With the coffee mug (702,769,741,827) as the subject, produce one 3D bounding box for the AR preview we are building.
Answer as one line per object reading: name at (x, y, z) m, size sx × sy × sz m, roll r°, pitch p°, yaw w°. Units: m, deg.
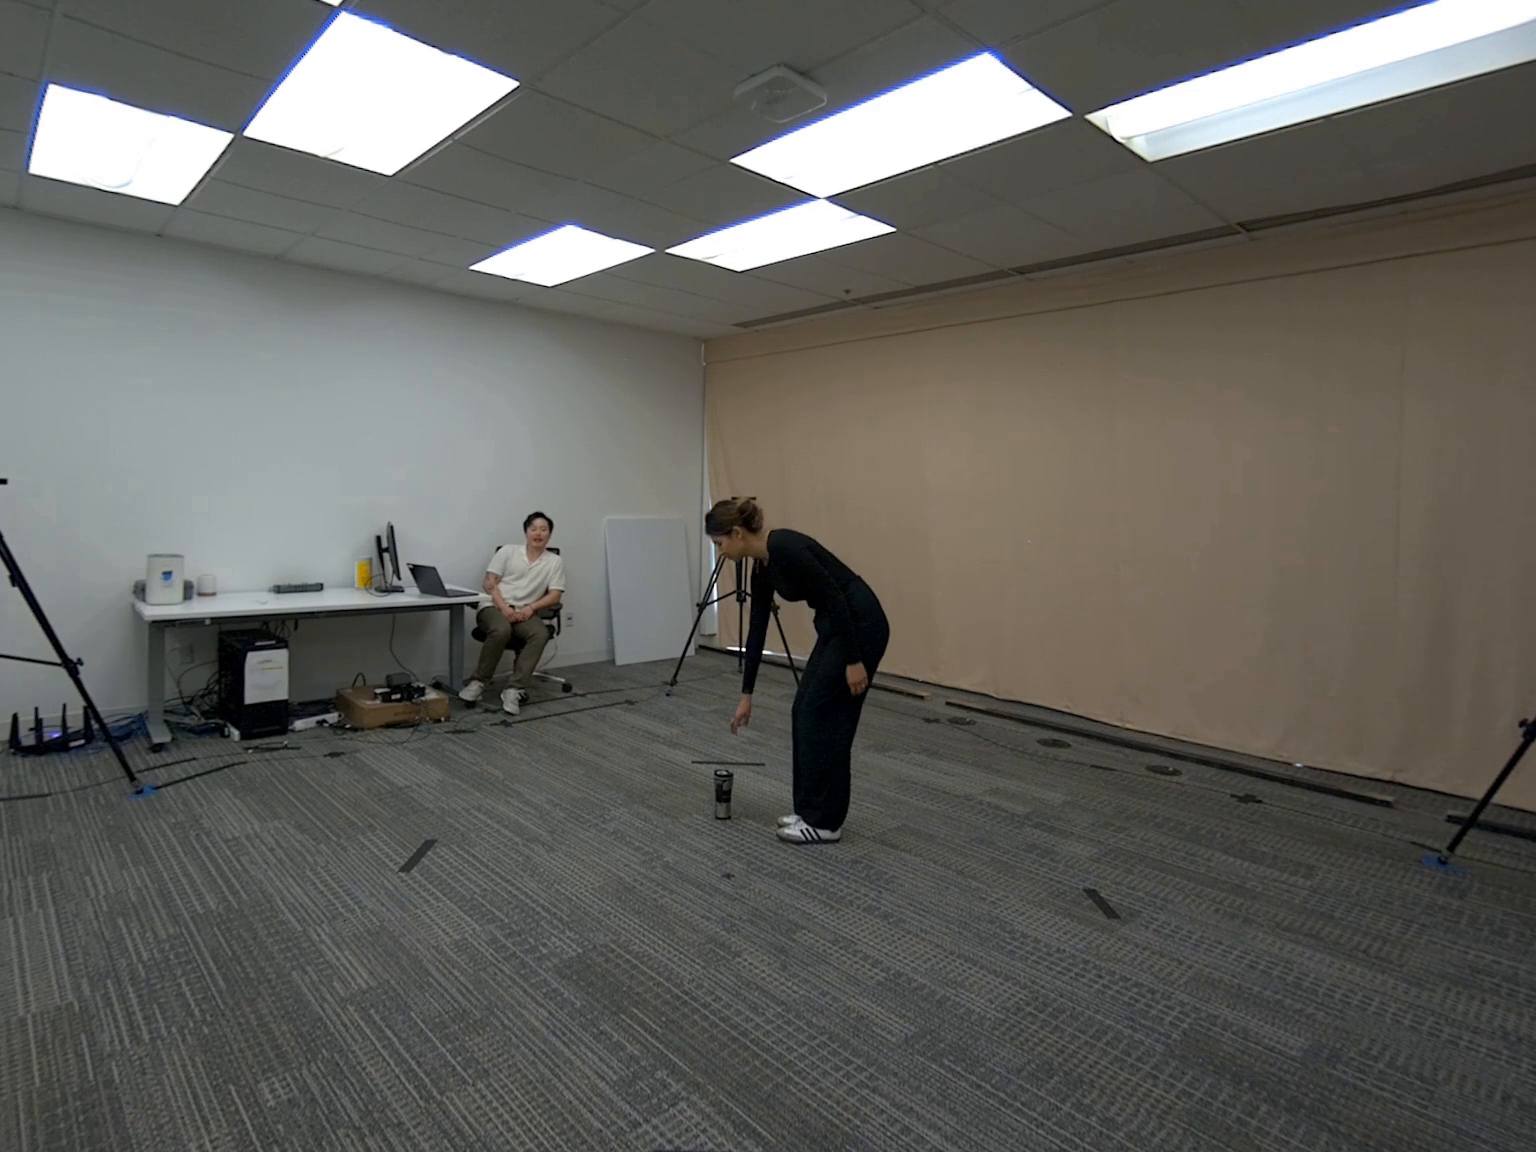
coffee mug at (-0.203, 0.955, 3.660) m, size 0.090 × 0.203 × 0.119 m, roll 7°, pitch 2°, yaw 39°
